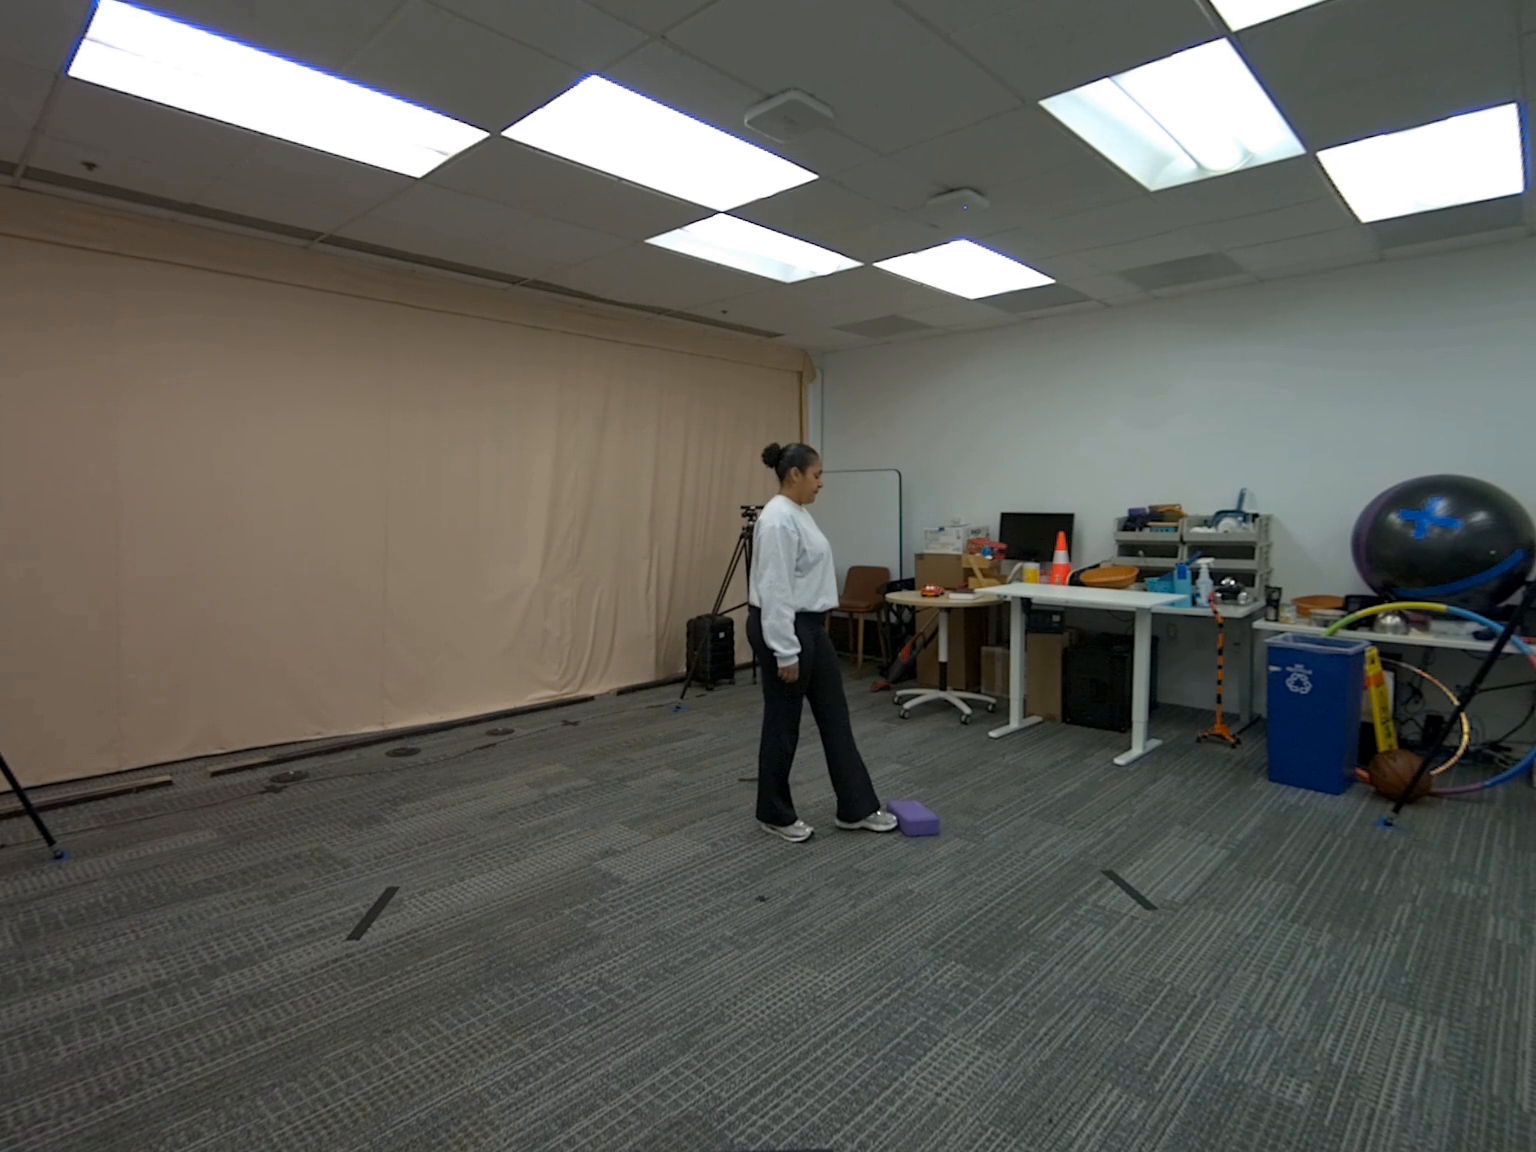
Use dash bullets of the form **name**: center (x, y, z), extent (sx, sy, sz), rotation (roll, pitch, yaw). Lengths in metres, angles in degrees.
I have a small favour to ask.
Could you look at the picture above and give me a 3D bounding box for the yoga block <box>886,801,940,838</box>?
- **yoga block**: center (0.616, 1.047, 3.660), extent (0.147, 0.076, 0.233), rotation (-1, 5, -12)
